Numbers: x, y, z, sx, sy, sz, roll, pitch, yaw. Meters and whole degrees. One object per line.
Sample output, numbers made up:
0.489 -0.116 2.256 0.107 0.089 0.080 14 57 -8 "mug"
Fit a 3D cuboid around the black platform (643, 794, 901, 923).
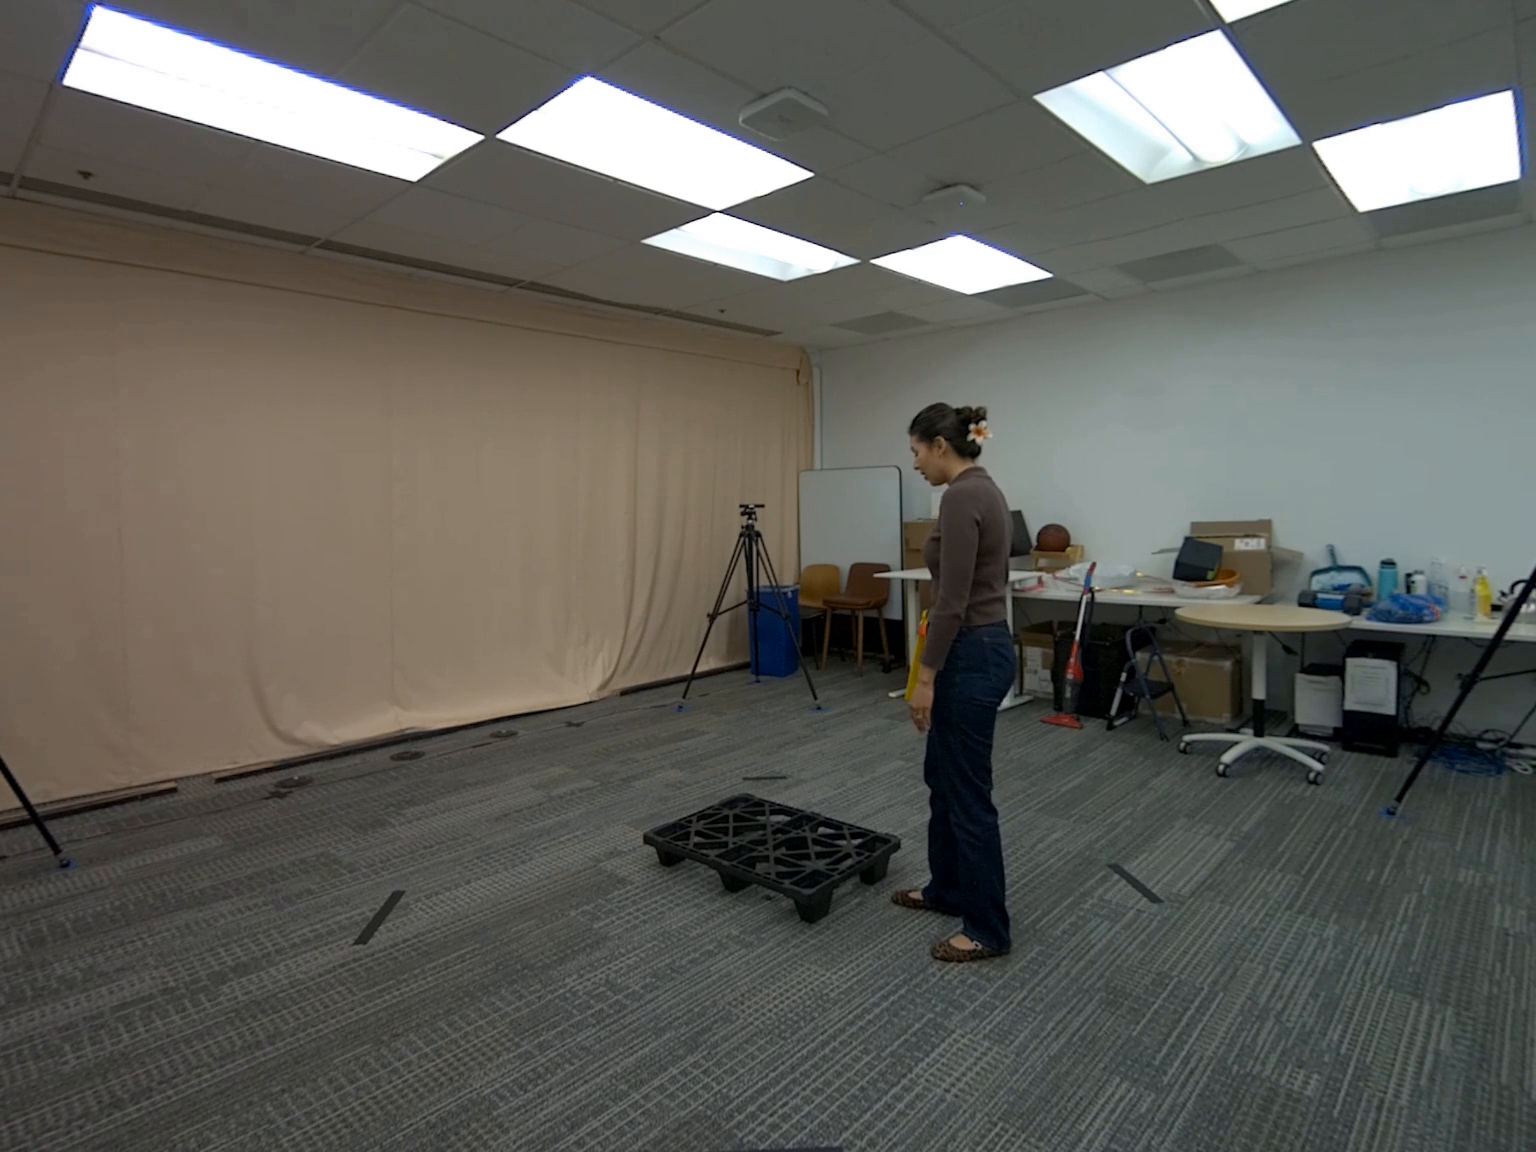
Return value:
0.011 1.054 3.195 0.832 0.143 0.587 3 7 41 "black platform"
